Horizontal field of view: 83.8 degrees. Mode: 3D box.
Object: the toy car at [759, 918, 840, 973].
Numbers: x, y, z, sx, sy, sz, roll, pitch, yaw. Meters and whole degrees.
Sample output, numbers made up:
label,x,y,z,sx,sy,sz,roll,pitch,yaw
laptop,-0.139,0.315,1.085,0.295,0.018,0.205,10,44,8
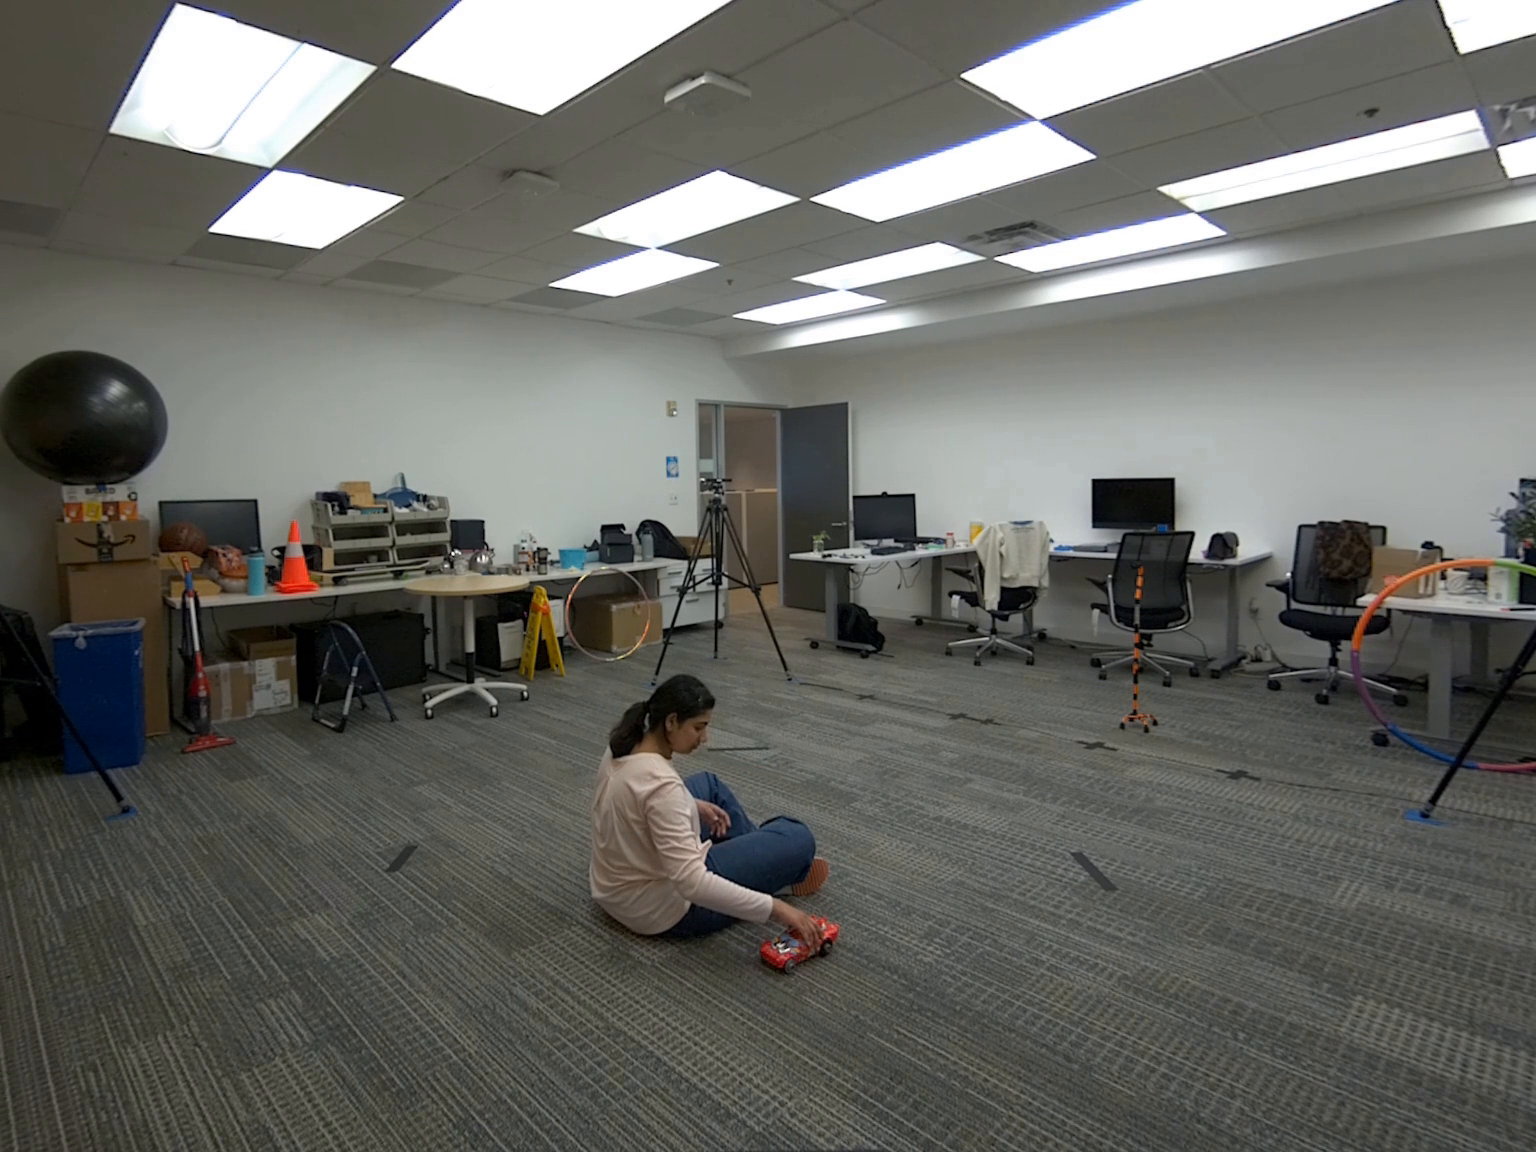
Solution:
label,x,y,z,sx,sy,sz,roll,pitch,yaw
toy car,0.098,1.074,2.510,0.250,0.082,0.134,-19,16,-37
